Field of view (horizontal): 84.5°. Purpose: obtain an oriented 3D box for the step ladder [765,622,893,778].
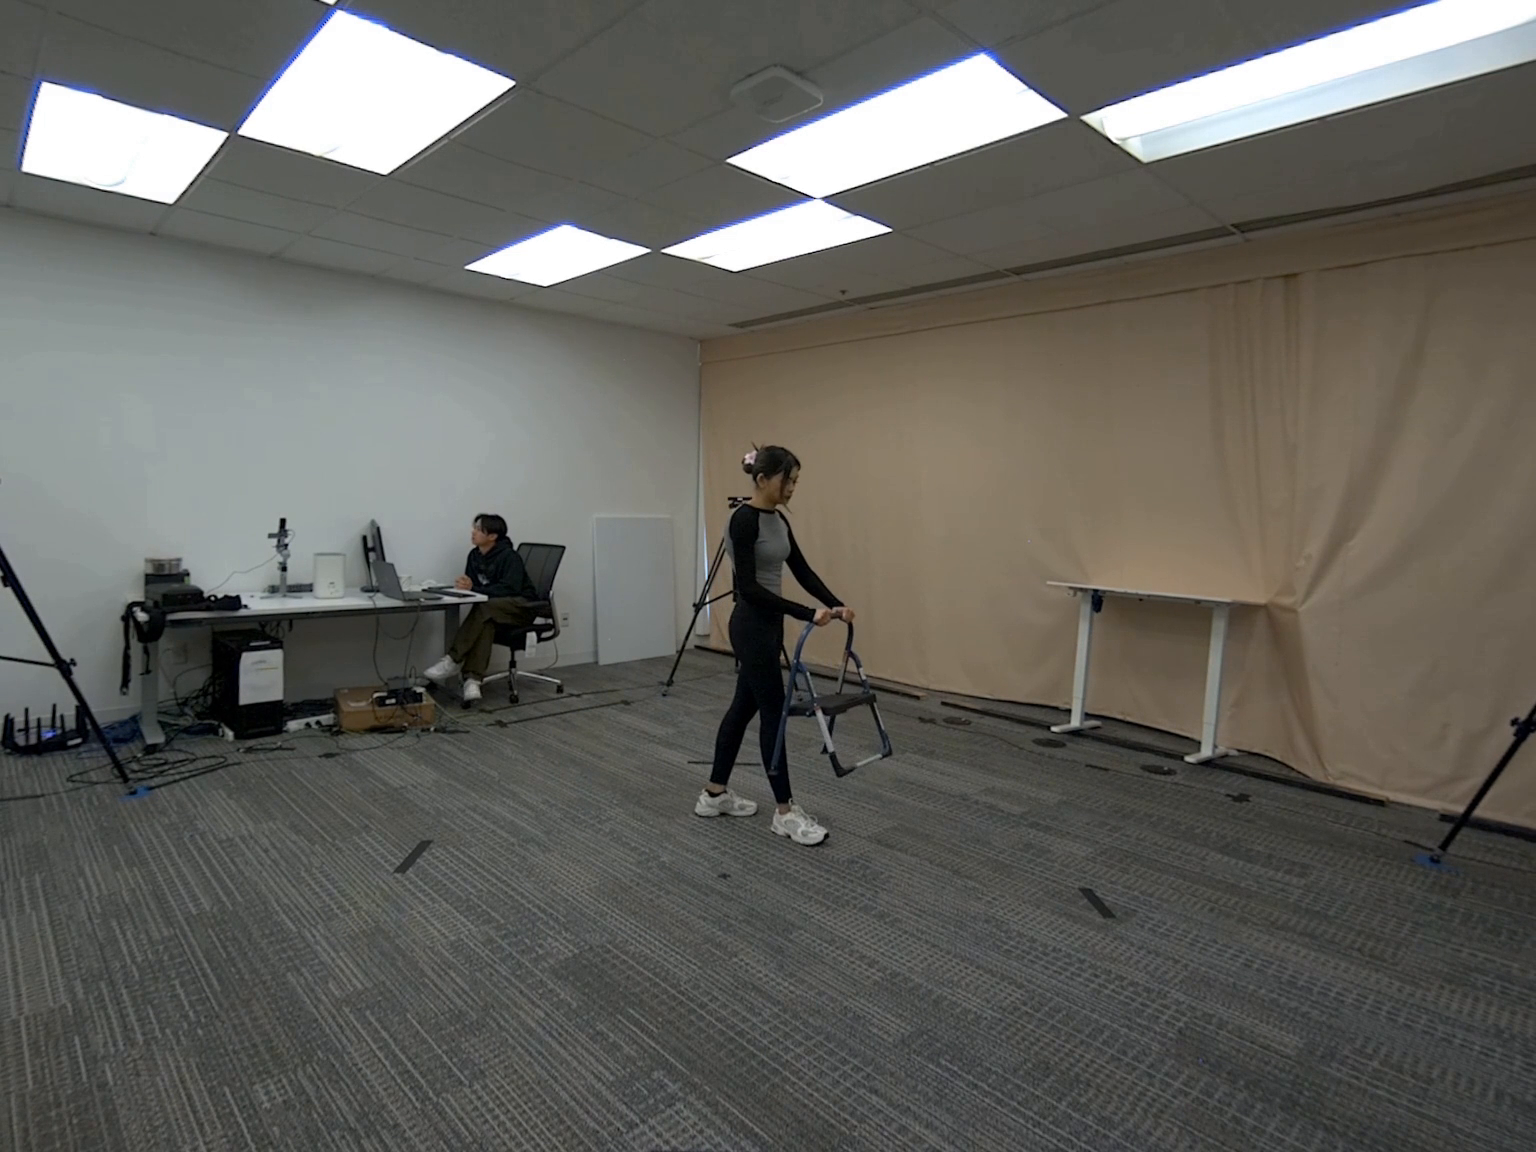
[{"bbox_3d":[0.221,0.461,3.433,0.356,0.607,0.421,-8,-3,37],"label":"step ladder"}]
